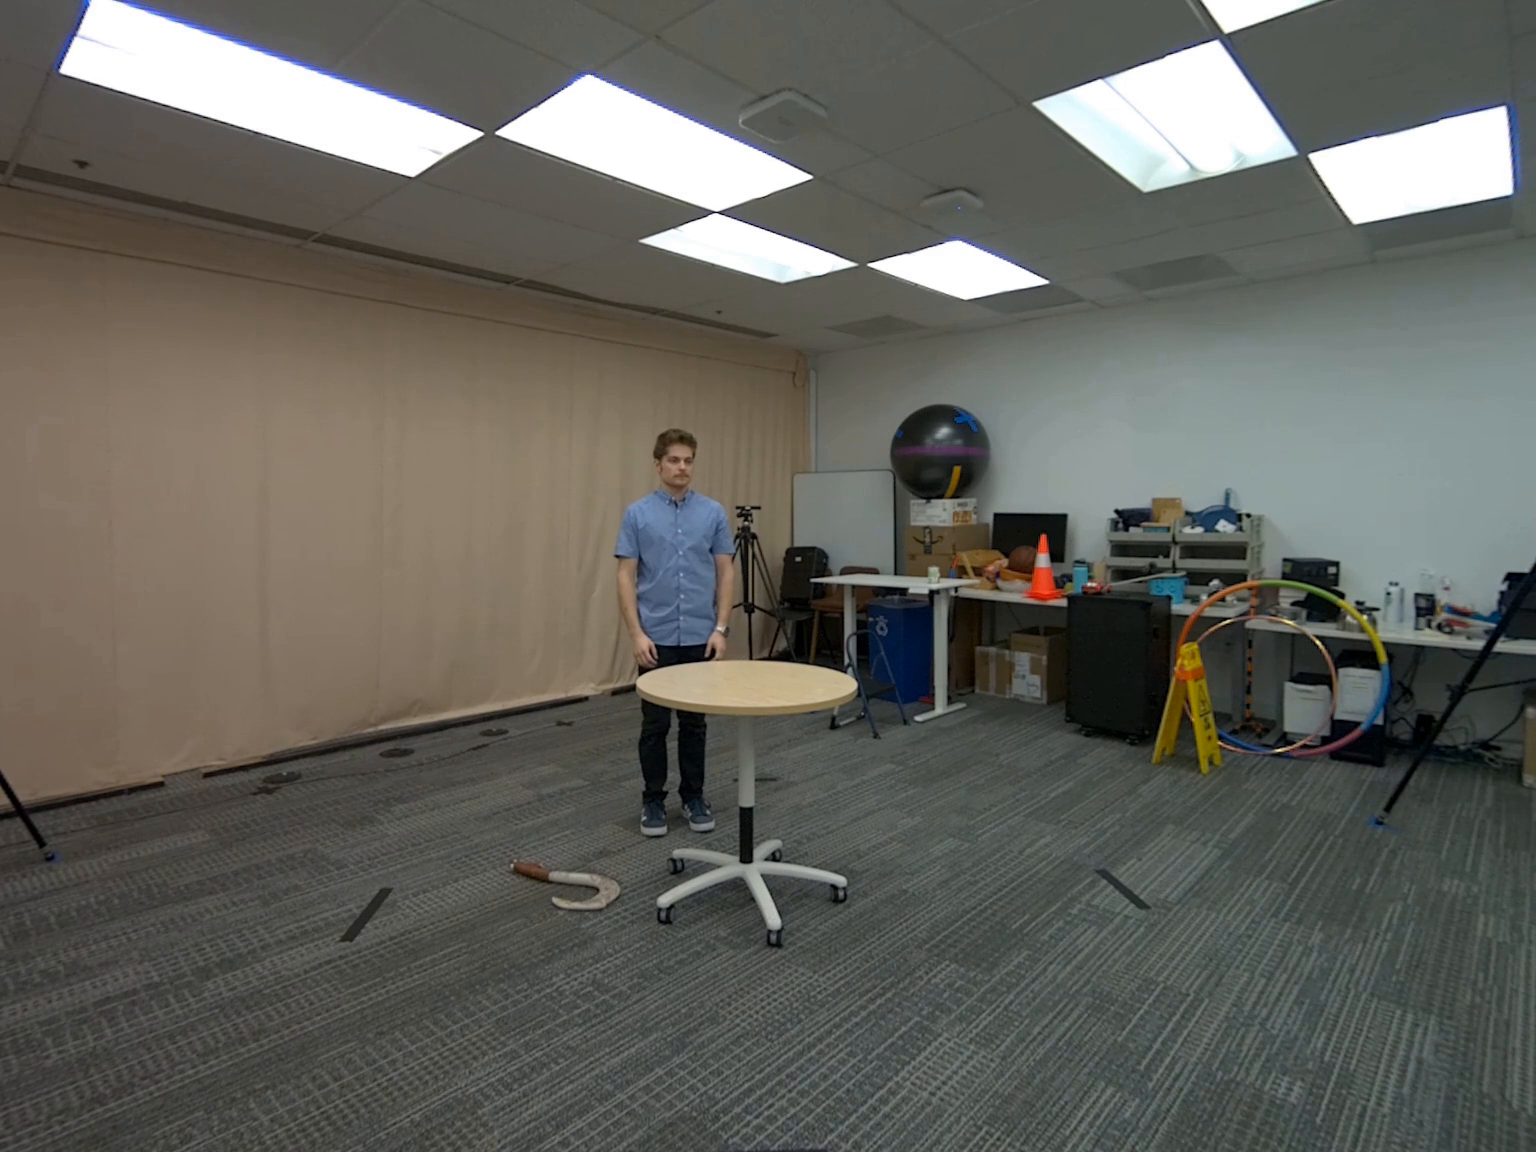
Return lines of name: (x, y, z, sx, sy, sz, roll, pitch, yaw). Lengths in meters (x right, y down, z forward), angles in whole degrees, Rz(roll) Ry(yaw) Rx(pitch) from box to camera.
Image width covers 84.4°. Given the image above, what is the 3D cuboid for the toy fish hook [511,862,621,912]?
toy fish hook: (-0.768, 1.121, 3.059, 0.520, 0.048, 0.219, 1, 5, 27)
